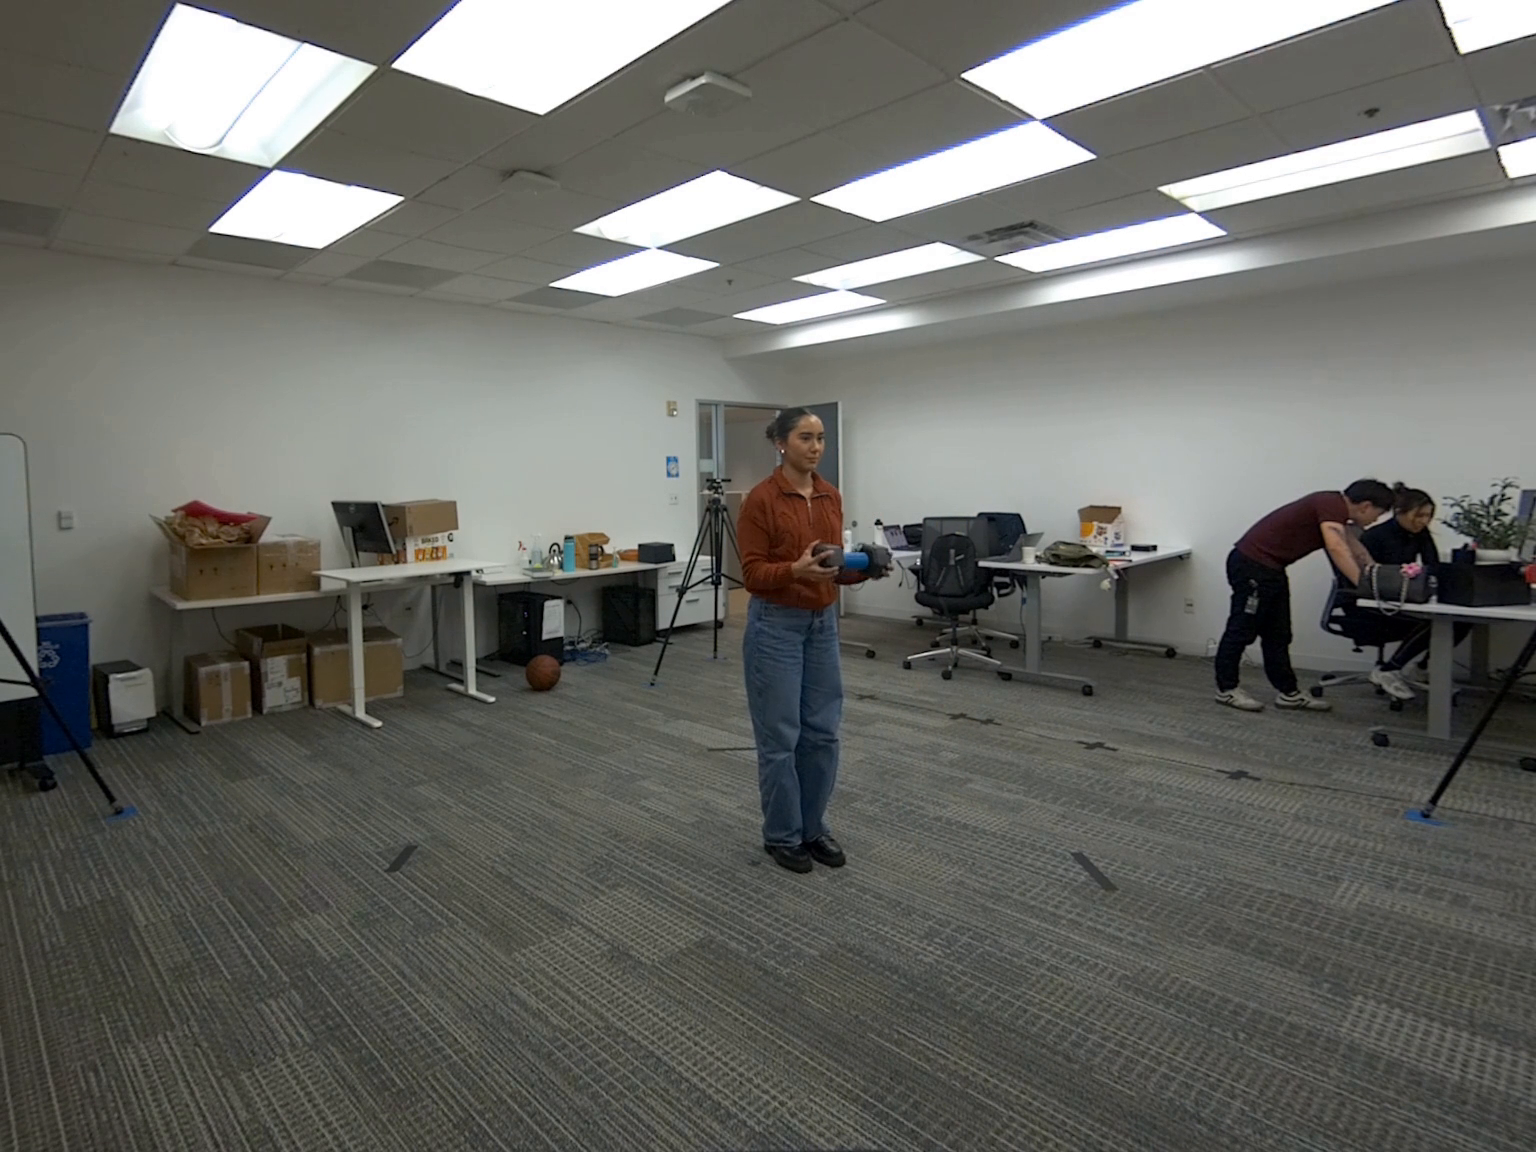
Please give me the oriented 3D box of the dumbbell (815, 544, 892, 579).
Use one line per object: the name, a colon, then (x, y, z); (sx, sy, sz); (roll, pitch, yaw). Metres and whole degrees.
dumbbell: (0.266, -0.048, 2.920); (0.285, 0.108, 0.127); (-1, 11, -36)
